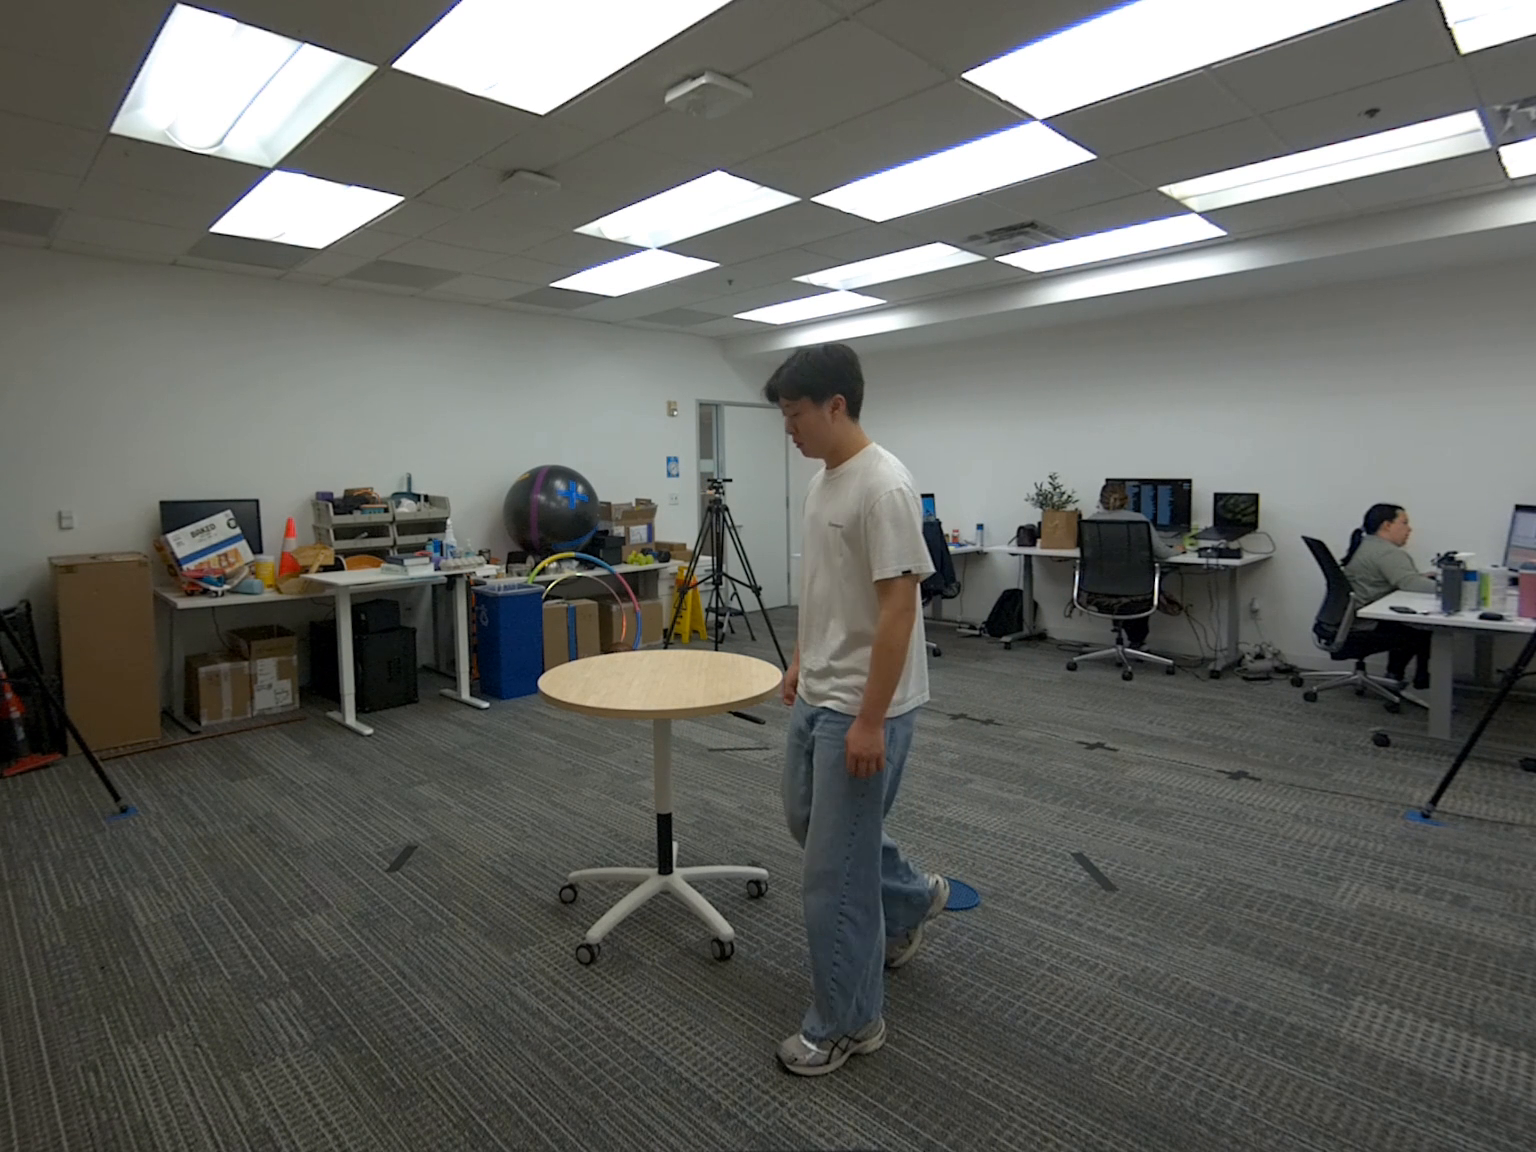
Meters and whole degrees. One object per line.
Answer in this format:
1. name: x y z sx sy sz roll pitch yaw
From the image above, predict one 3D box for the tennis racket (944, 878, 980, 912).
1. tennis racket: 0.495 1.044 2.889 0.444 0.031 0.209 5 7 27
